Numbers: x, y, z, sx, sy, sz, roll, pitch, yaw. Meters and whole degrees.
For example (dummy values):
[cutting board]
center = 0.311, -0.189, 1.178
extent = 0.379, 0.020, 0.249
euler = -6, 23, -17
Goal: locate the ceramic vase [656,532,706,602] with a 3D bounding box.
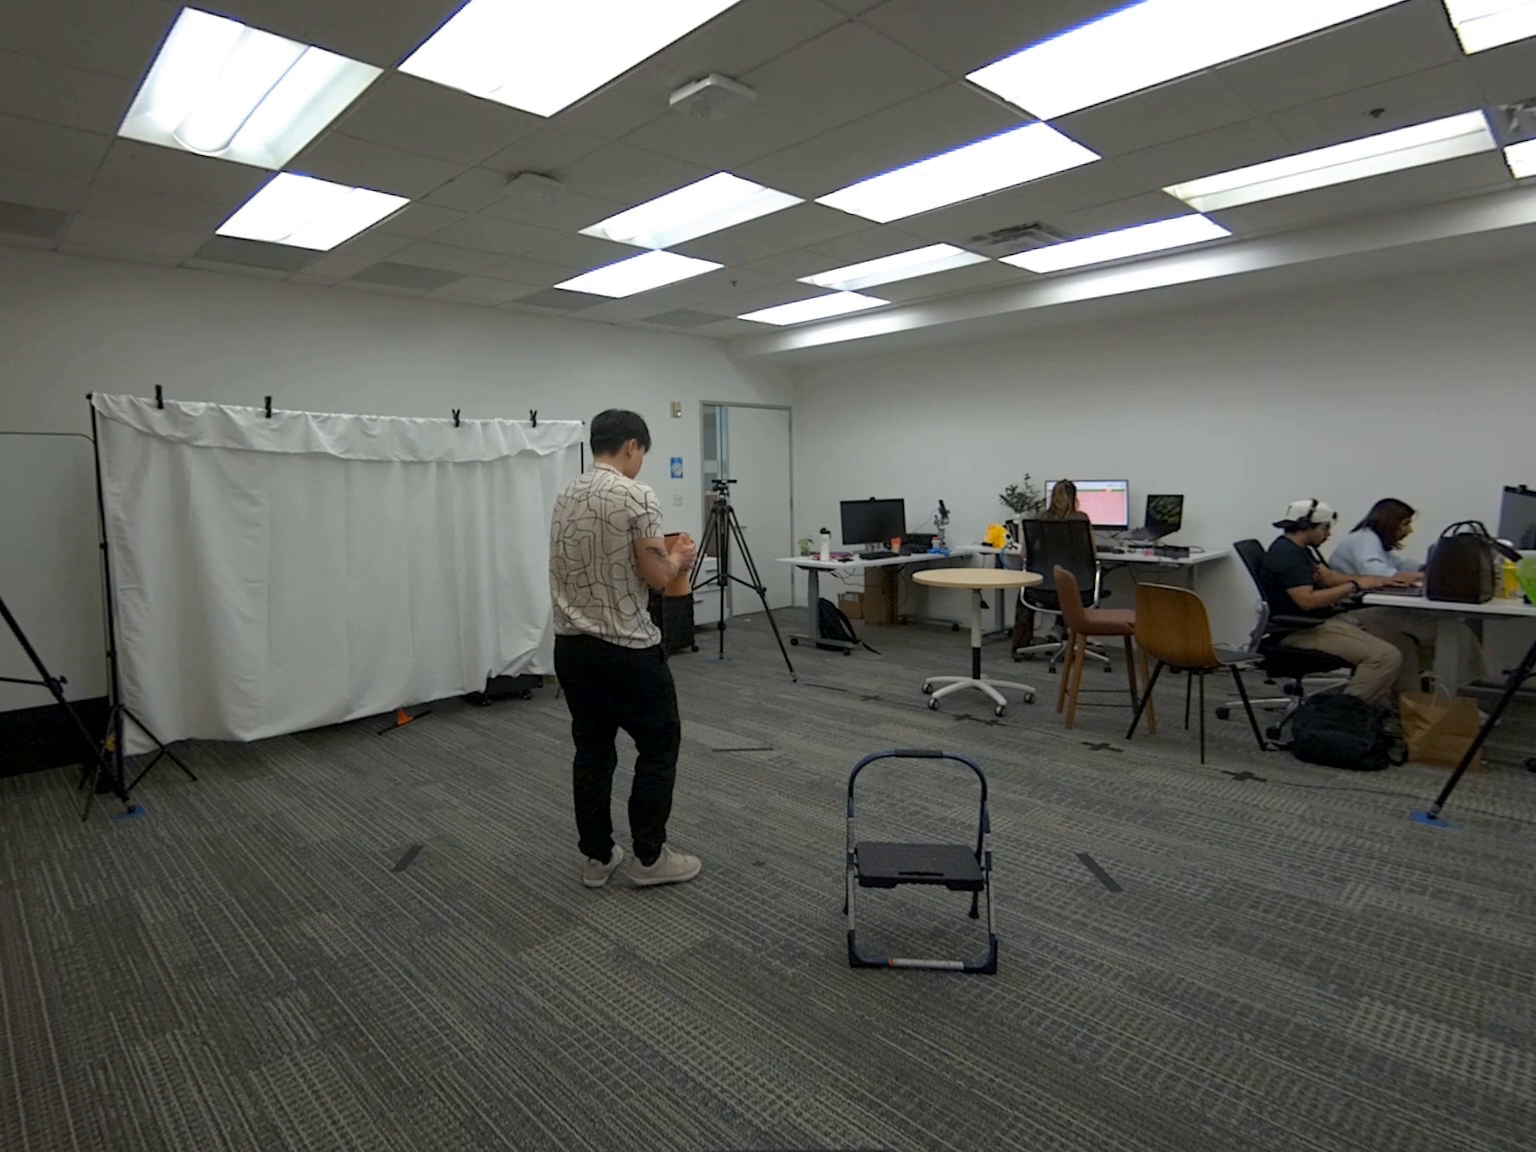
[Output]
[ceramic vase]
center = -0.331, -0.037, 3.133
extent = 0.157, 0.218, 0.137
euler = -8, 7, -12
